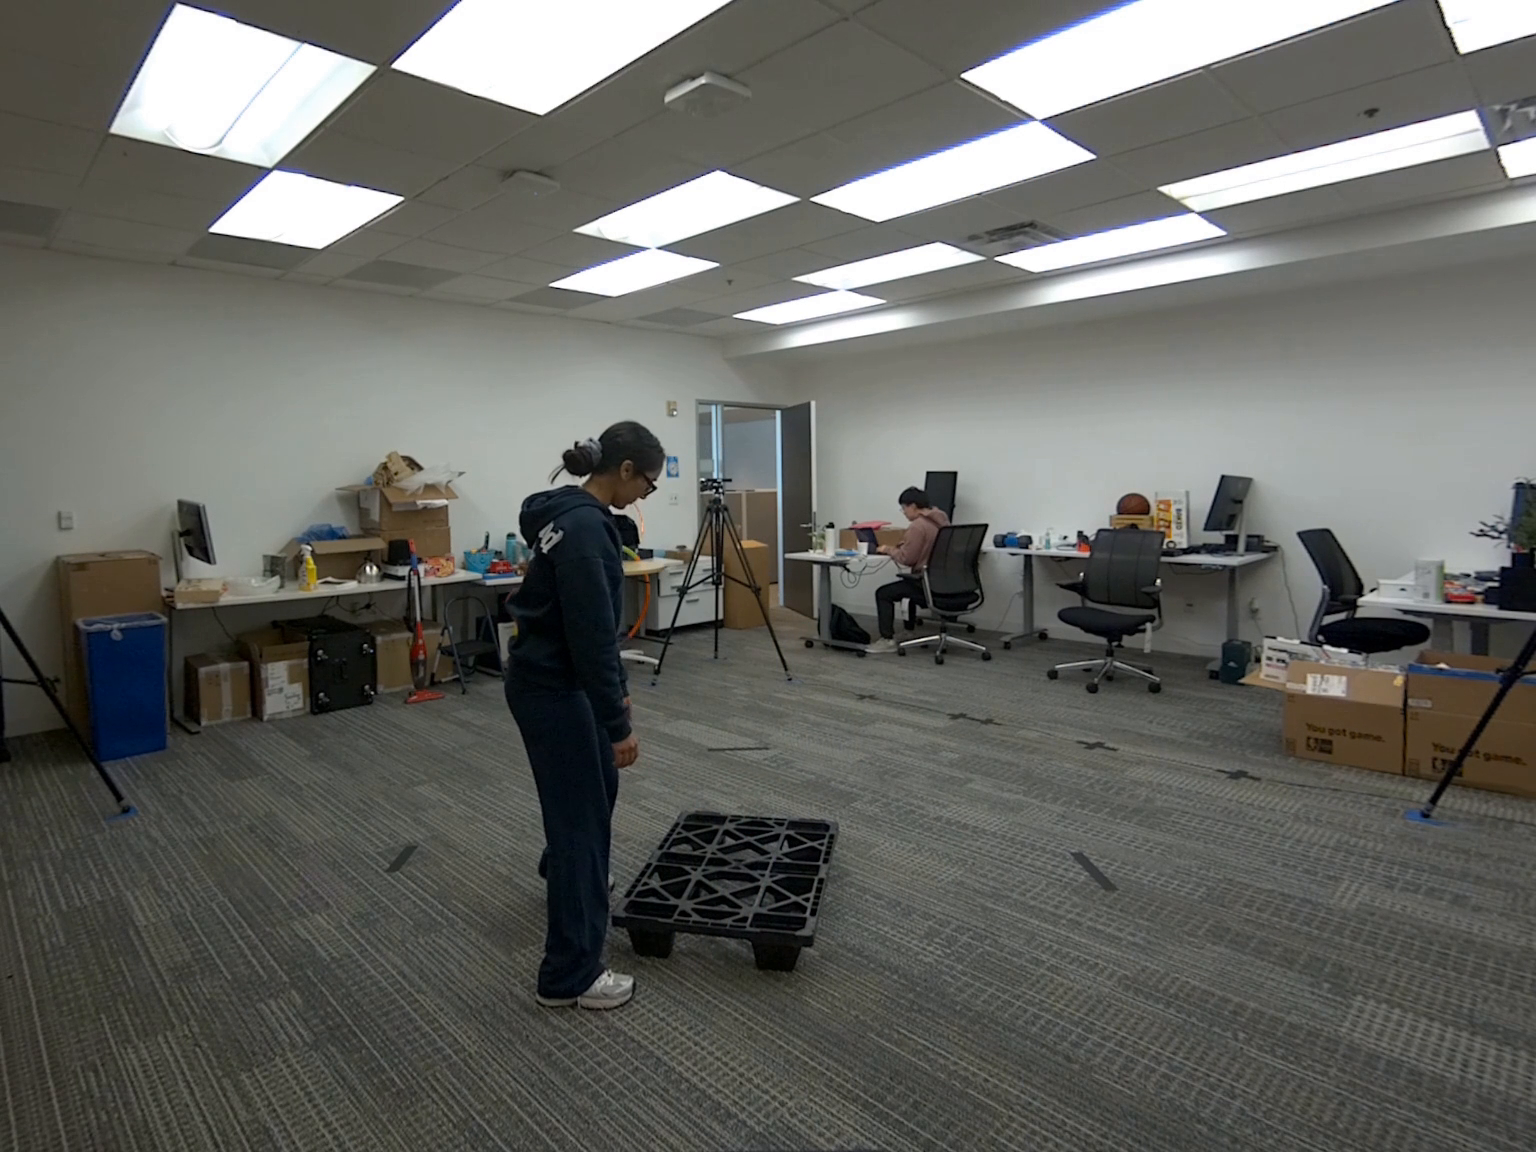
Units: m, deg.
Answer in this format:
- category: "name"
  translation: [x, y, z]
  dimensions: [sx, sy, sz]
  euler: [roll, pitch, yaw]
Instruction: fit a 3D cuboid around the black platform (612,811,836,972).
- category: "black platform"
  translation: [-0.101, 1.010, 2.818]
  dimensions: [0.612, 0.142, 0.800]
  euler: [0, 7, 11]
